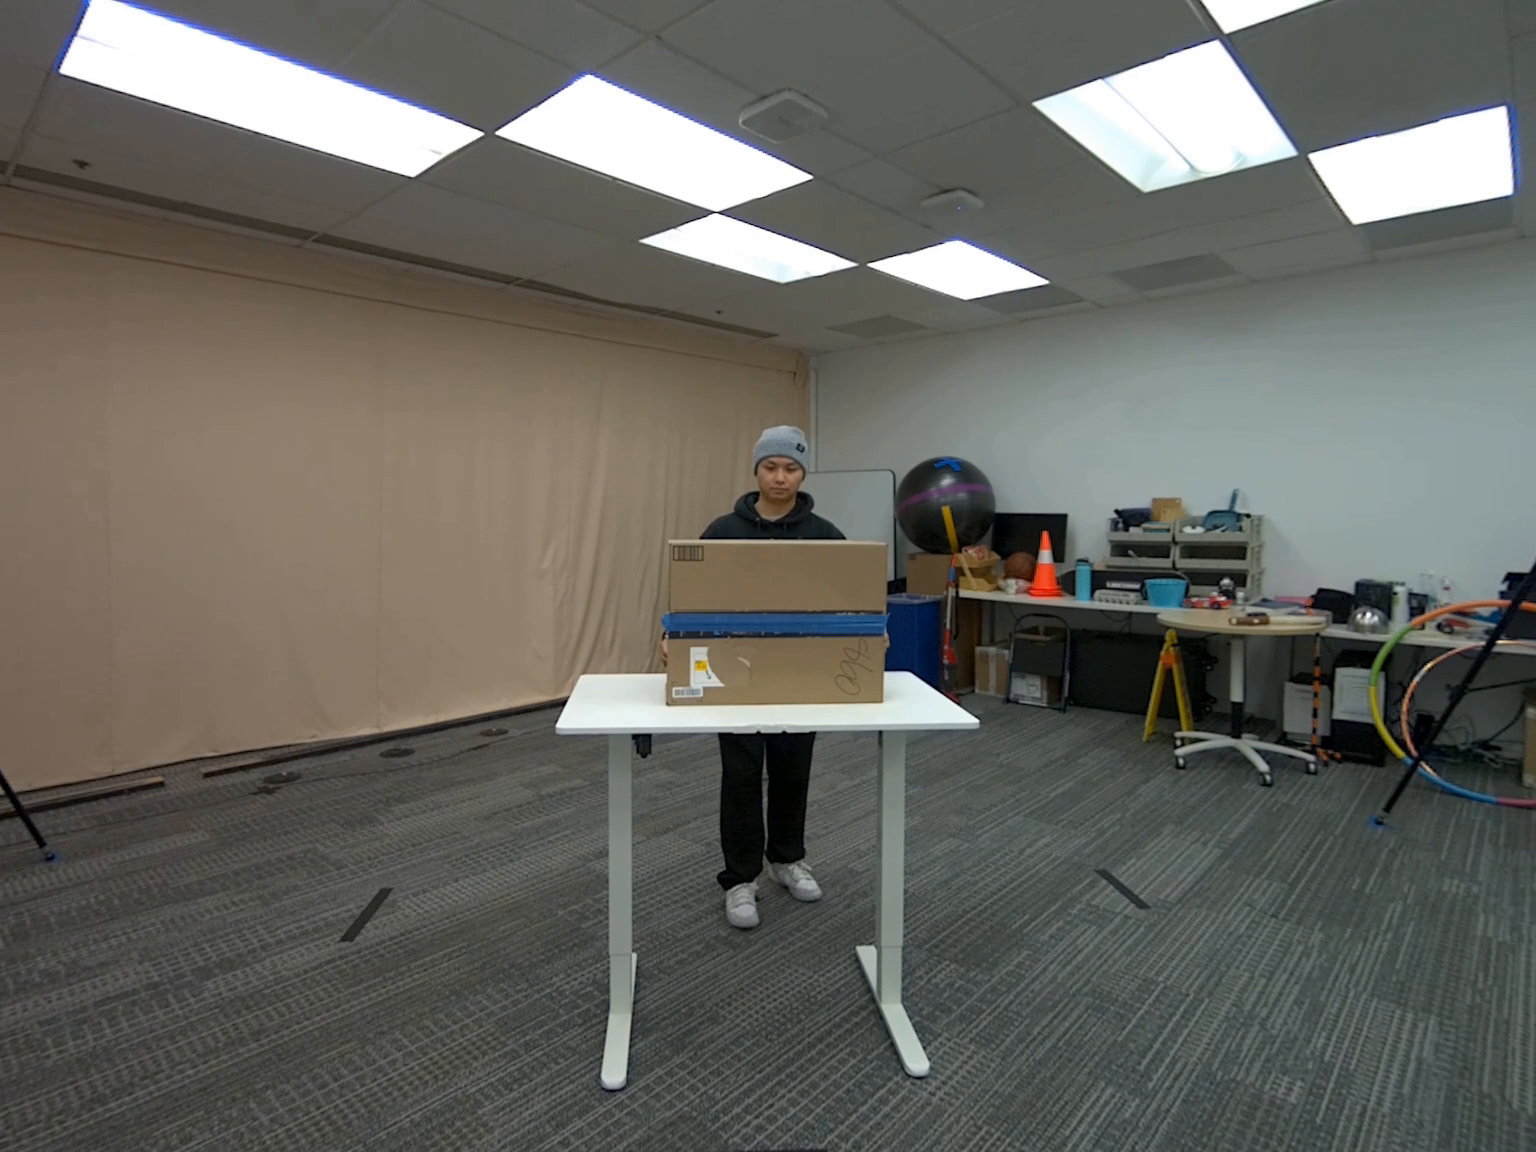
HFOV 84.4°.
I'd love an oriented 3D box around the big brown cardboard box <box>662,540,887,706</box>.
[{"bbox_3d":[0.009,0.114,2.262,0.586,0.416,0.235,0,4,-5],"label":"big brown cardboard box"}]
